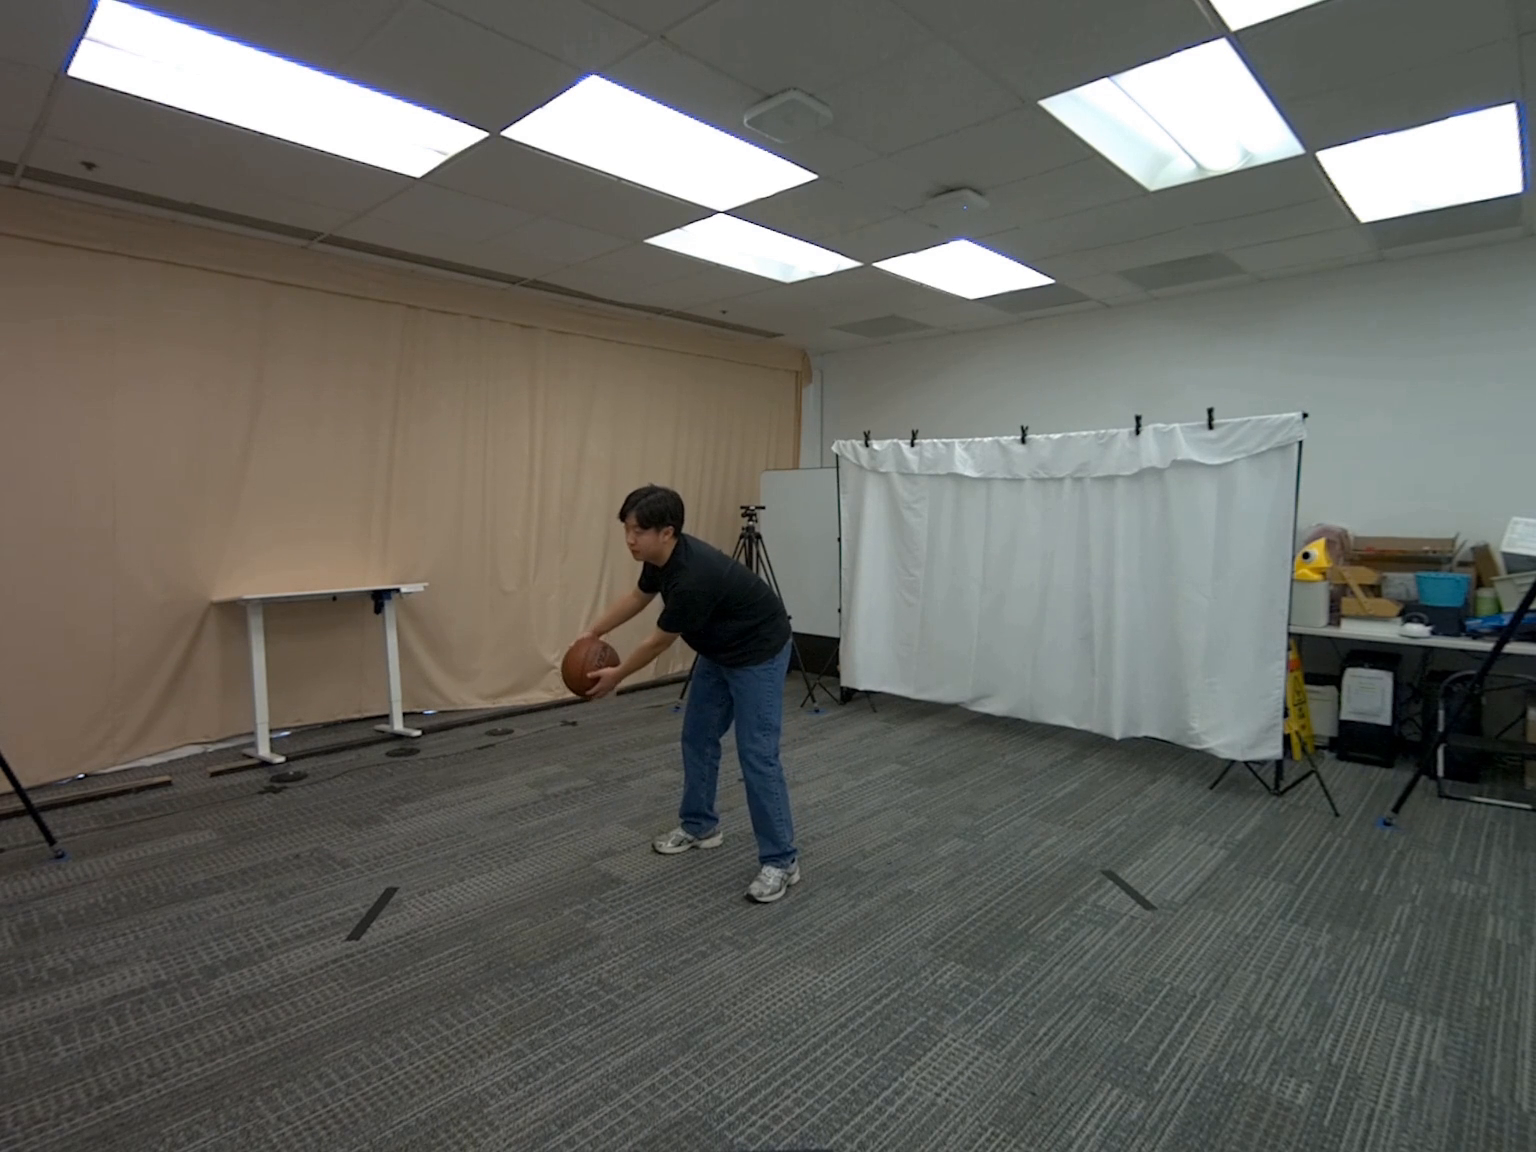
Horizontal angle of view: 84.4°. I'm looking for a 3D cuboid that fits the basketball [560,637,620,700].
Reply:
[{"bbox_3d":[-0.695,0.378,3.375,0.236,0.235,0.237,0,4,-2],"label":"basketball"}]
